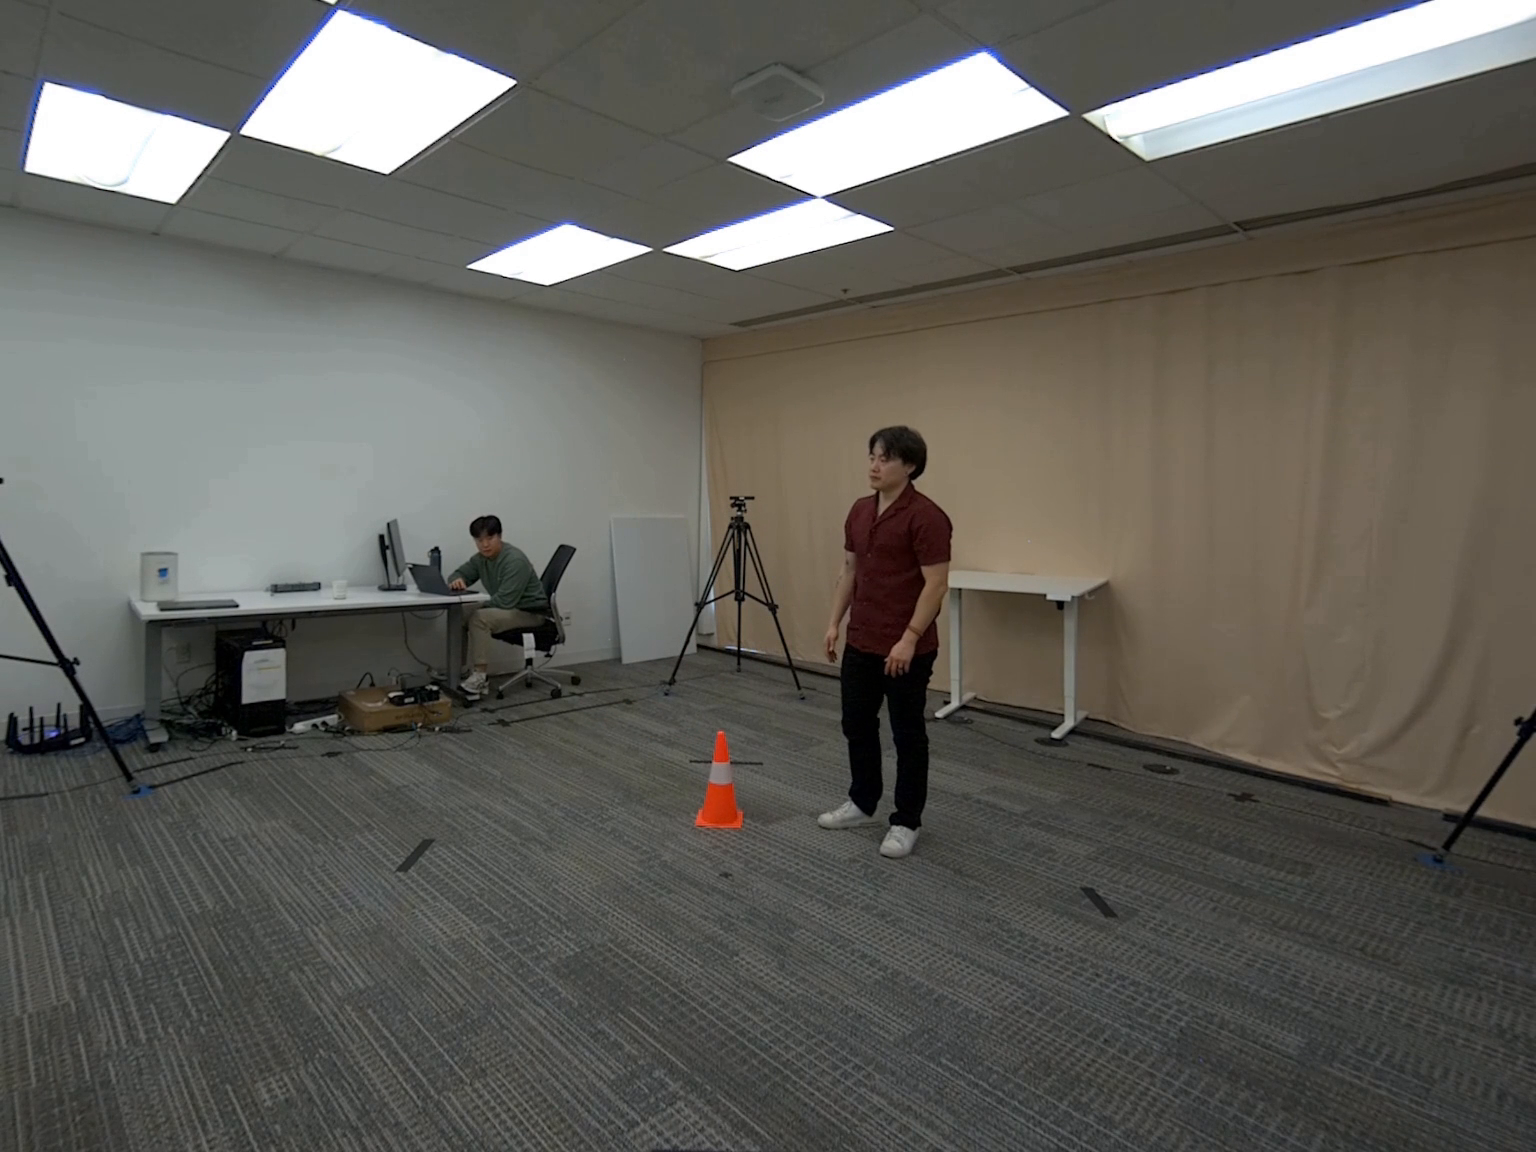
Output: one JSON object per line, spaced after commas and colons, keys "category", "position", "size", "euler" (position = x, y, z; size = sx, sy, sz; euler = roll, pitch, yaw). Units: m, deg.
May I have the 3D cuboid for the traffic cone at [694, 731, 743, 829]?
{"category": "traffic cone", "position": [-0.210, 0.864, 3.660], "size": [0.204, 0.383, 0.204], "euler": [2, 2, 5]}
